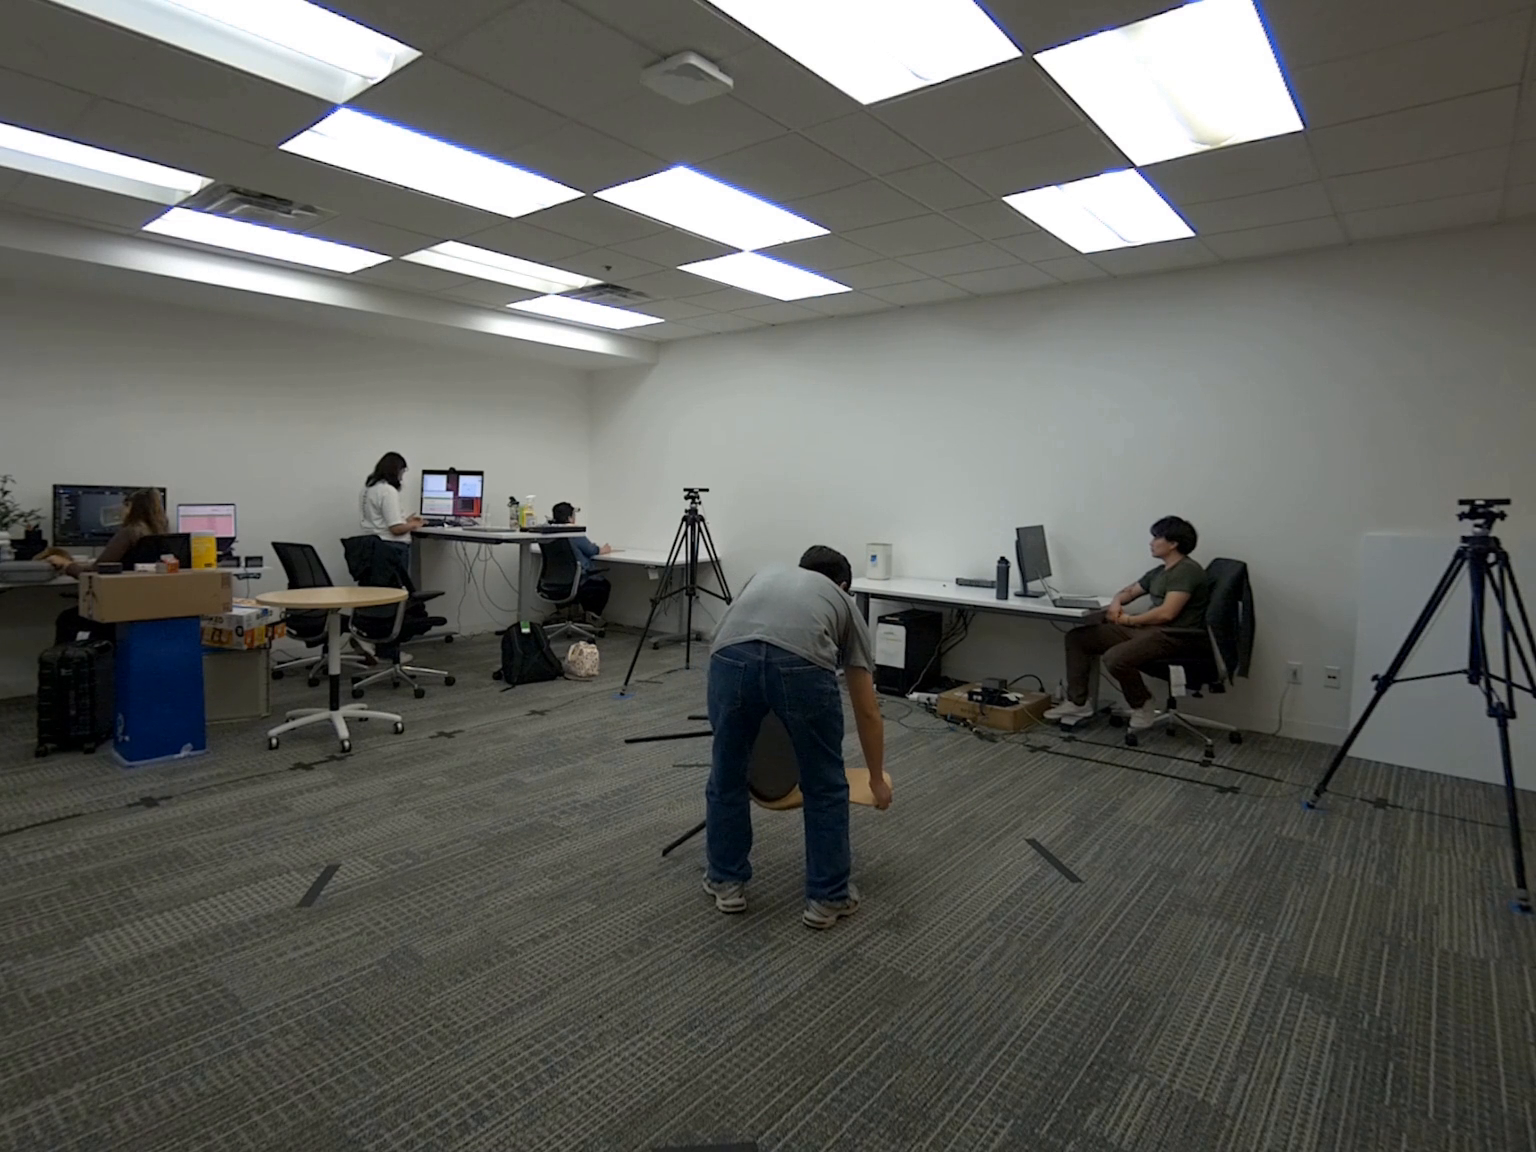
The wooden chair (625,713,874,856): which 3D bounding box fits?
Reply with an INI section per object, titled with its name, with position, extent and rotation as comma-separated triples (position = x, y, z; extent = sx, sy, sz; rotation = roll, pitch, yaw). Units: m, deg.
[wooden chair]
position = -0.048, 0.670, 3.235
extent = 0.892, 0.528, 0.466
rotation = -19, -7, 29
